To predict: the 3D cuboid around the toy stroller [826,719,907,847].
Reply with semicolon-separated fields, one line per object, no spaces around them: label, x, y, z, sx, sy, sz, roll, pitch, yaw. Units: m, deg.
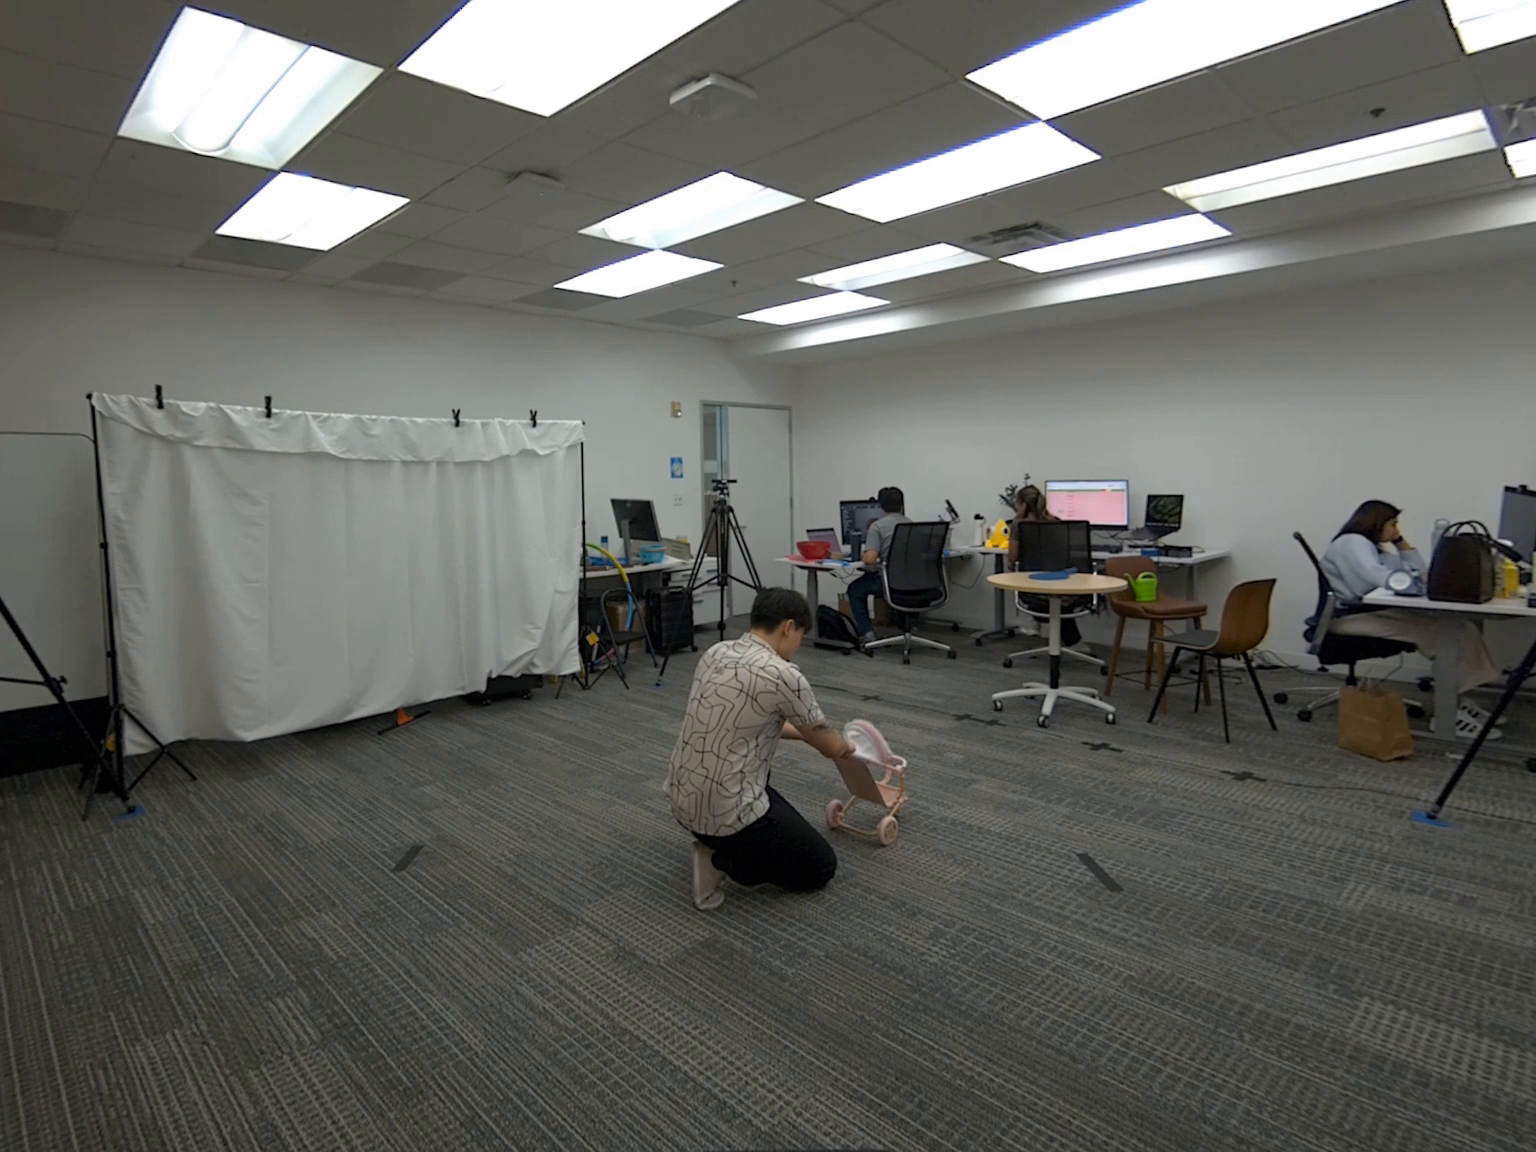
toy stroller;0.394;0.788;3.360;0.290;0.524;0.337;6;28;46
